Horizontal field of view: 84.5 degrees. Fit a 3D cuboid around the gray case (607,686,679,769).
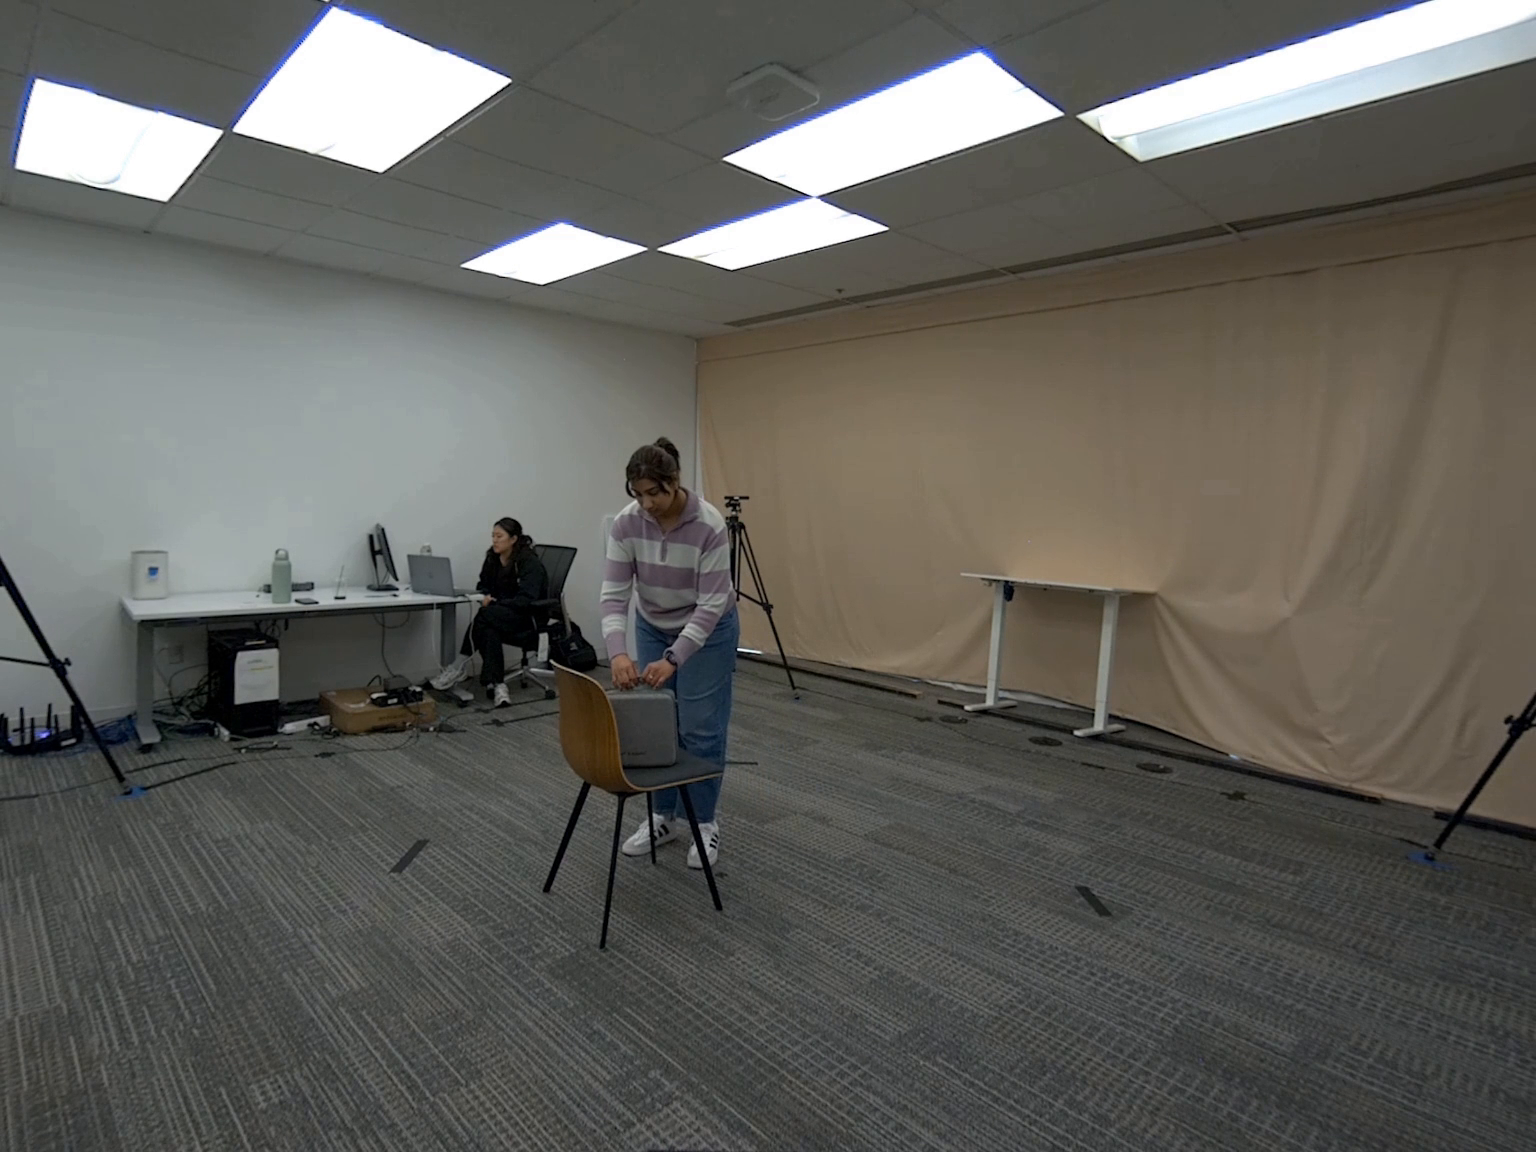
[{"bbox_3d":[-0.450,0.511,2.854,0.257,0.259,0.104,-1,5,1],"label":"gray case"}]
